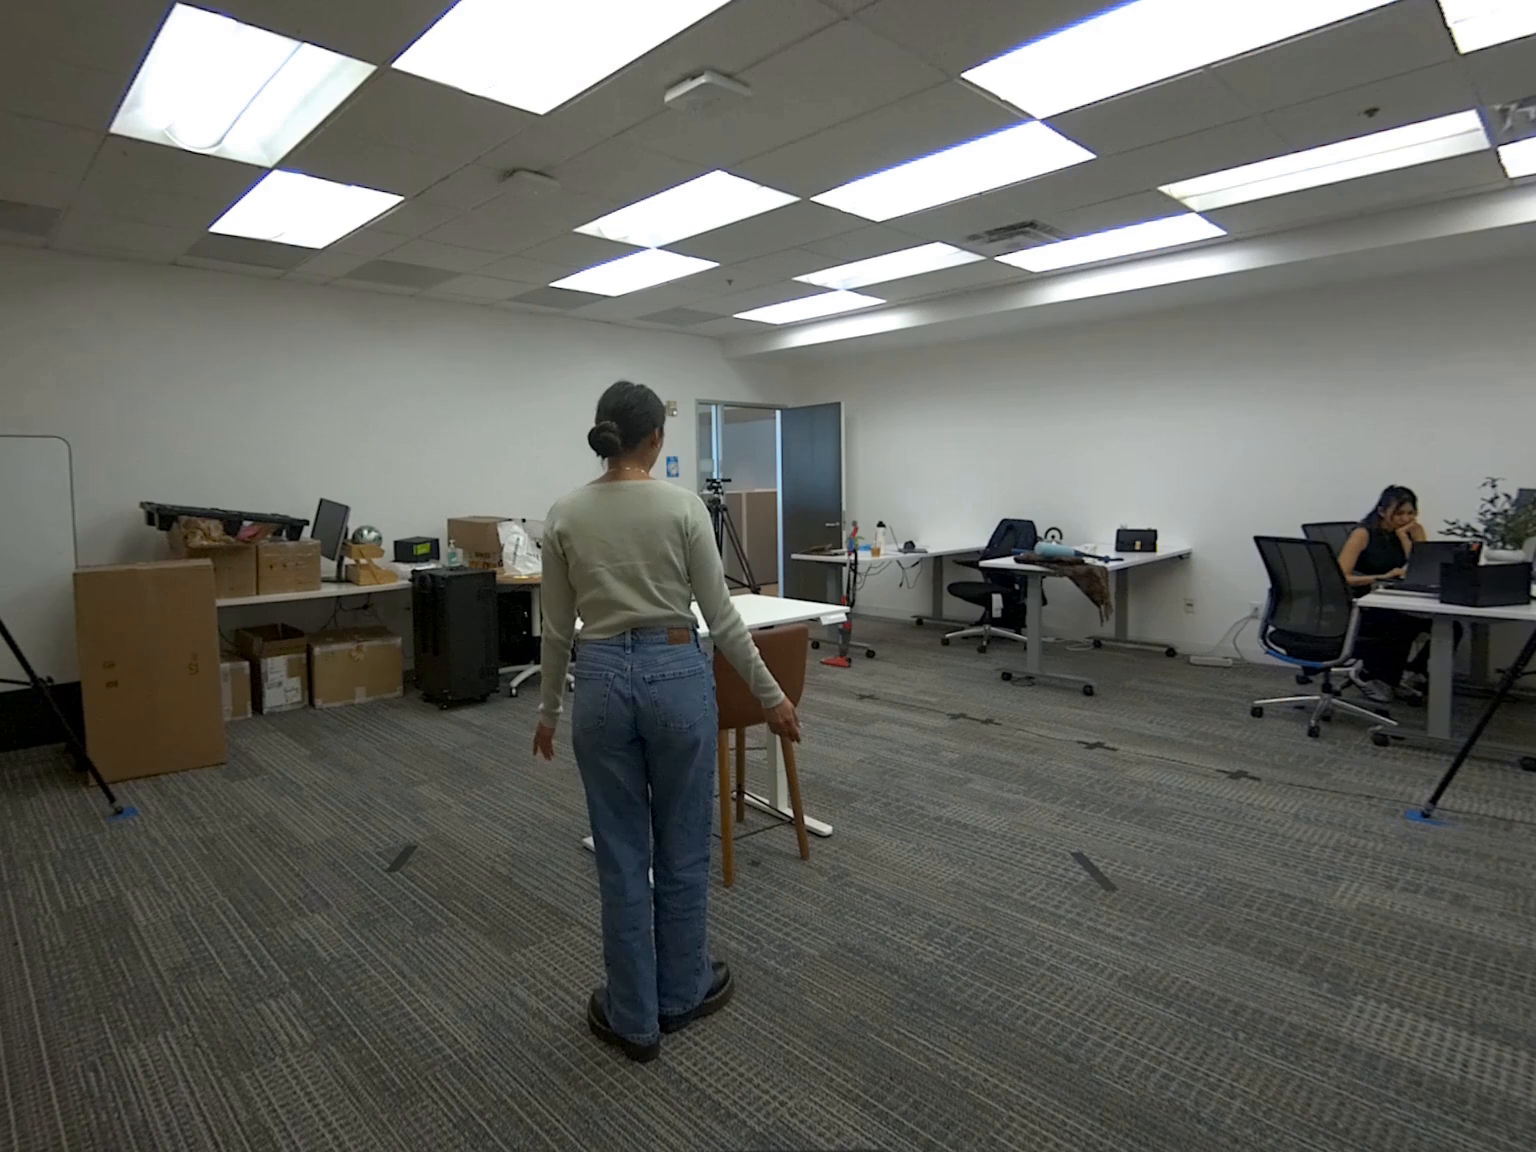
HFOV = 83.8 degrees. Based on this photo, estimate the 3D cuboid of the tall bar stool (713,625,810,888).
[{"bbox_3d":[-0.129,0.607,3.182,0.444,0.885,0.482,-3,7,-37],"label":"tall bar stool"}]
